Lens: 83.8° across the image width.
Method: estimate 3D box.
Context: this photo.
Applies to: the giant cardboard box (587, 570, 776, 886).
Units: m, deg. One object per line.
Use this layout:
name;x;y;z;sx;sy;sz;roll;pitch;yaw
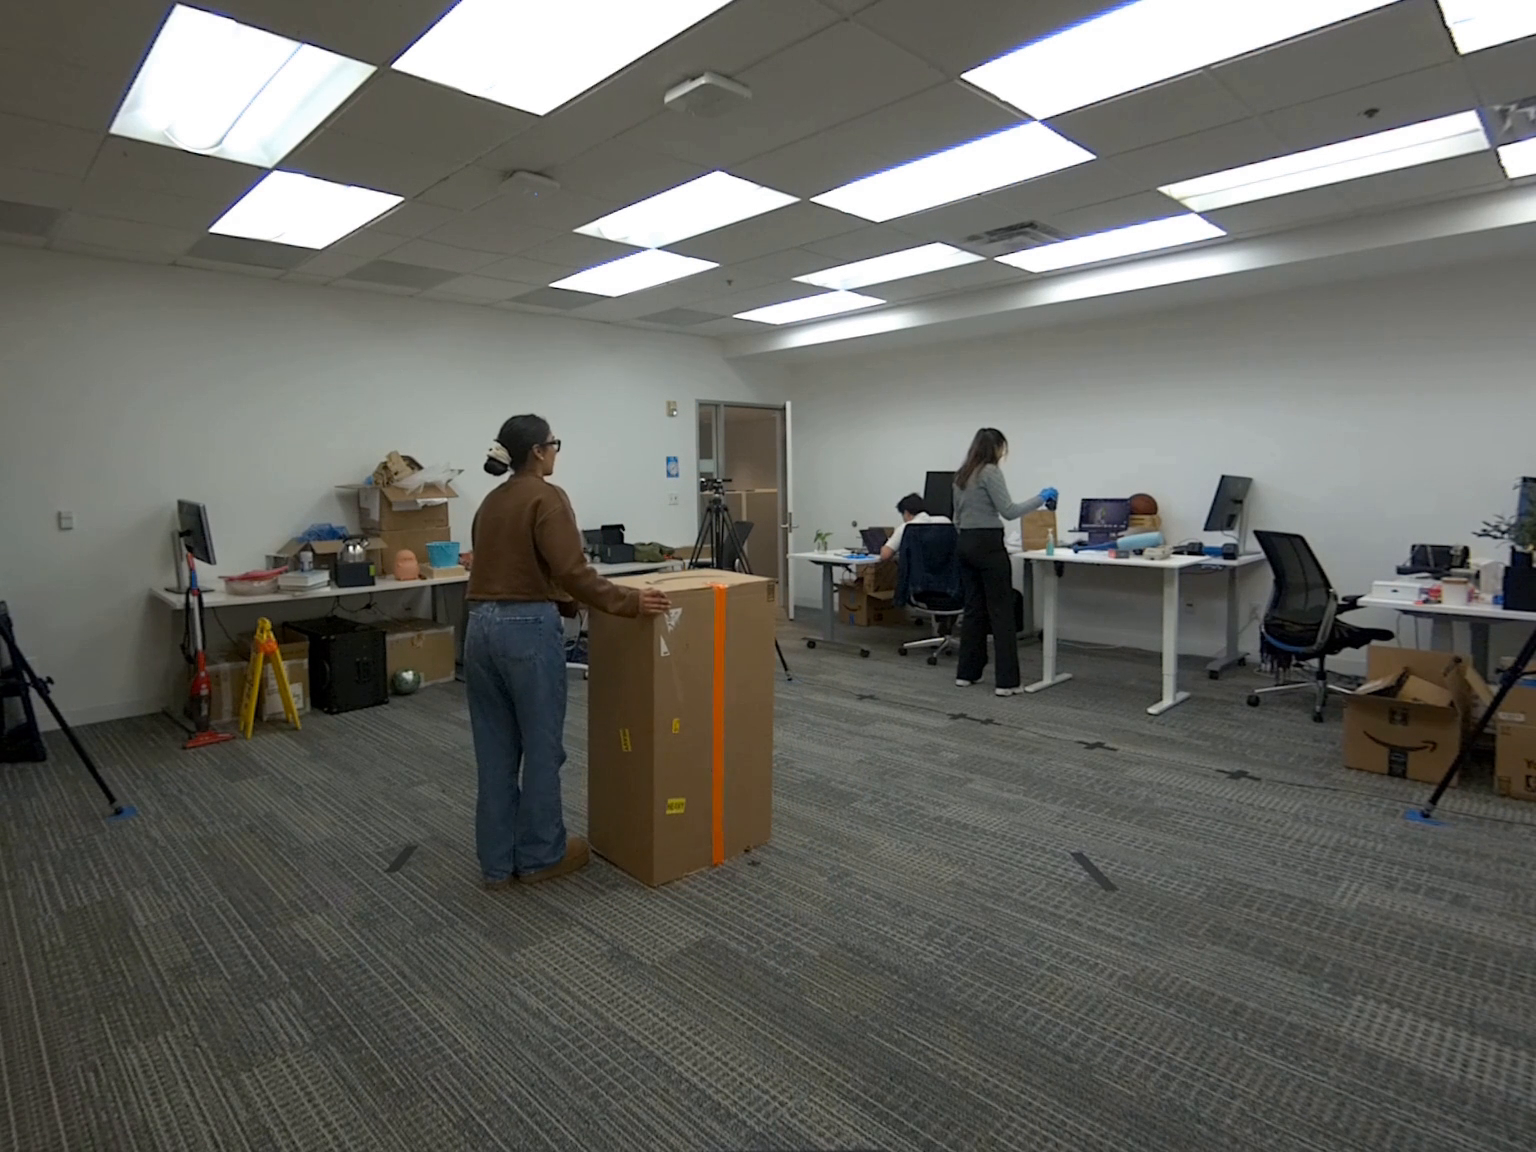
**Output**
giant cardboard box;-0.320;0.522;3.237;0.562;1.021;0.440;-4;6;-42
